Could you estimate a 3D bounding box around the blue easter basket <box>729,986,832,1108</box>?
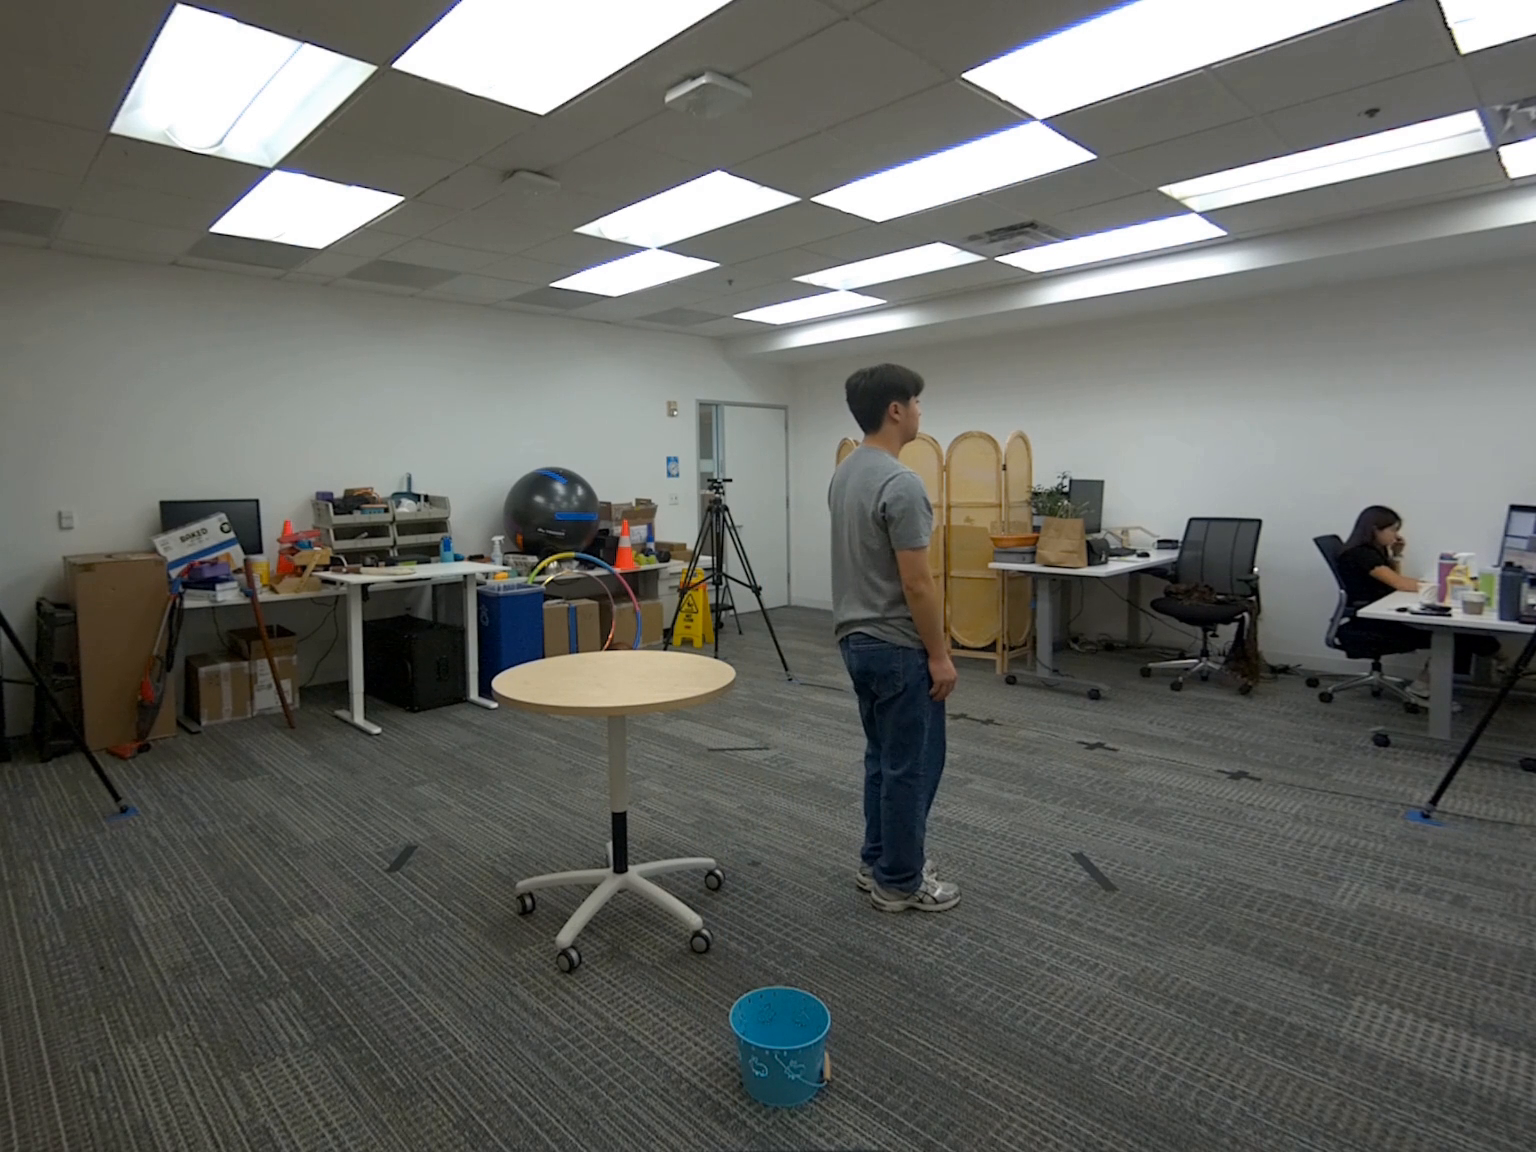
[{"bbox_3d":[0.037,1.100,1.979,0.243,0.155,0.245,-2,5,-2],"label":"blue easter basket"}]
